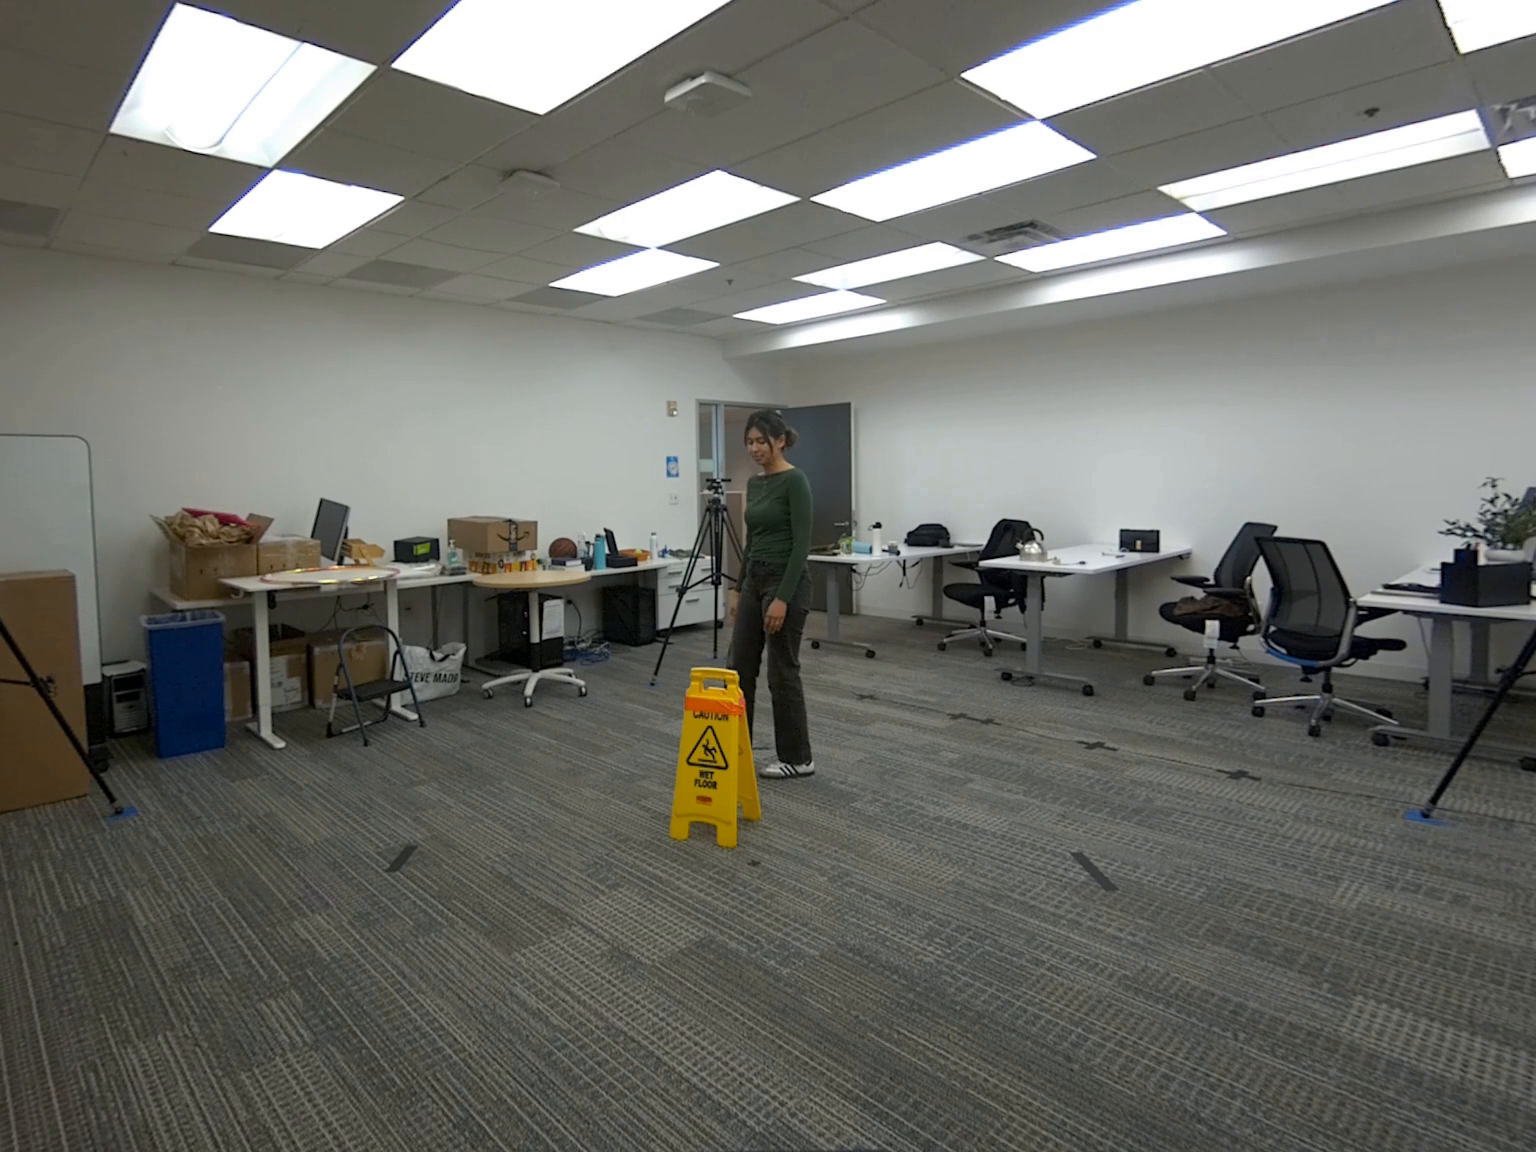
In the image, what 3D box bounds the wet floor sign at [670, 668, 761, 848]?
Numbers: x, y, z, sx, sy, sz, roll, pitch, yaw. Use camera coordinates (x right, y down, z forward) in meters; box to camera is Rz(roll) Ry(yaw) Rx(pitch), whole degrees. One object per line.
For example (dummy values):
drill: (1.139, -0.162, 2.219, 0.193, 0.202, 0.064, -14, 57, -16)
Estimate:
wet floor sign: (-0.213, 0.690, 3.399, 0.288, 0.644, 0.285, 0, 4, 21)
